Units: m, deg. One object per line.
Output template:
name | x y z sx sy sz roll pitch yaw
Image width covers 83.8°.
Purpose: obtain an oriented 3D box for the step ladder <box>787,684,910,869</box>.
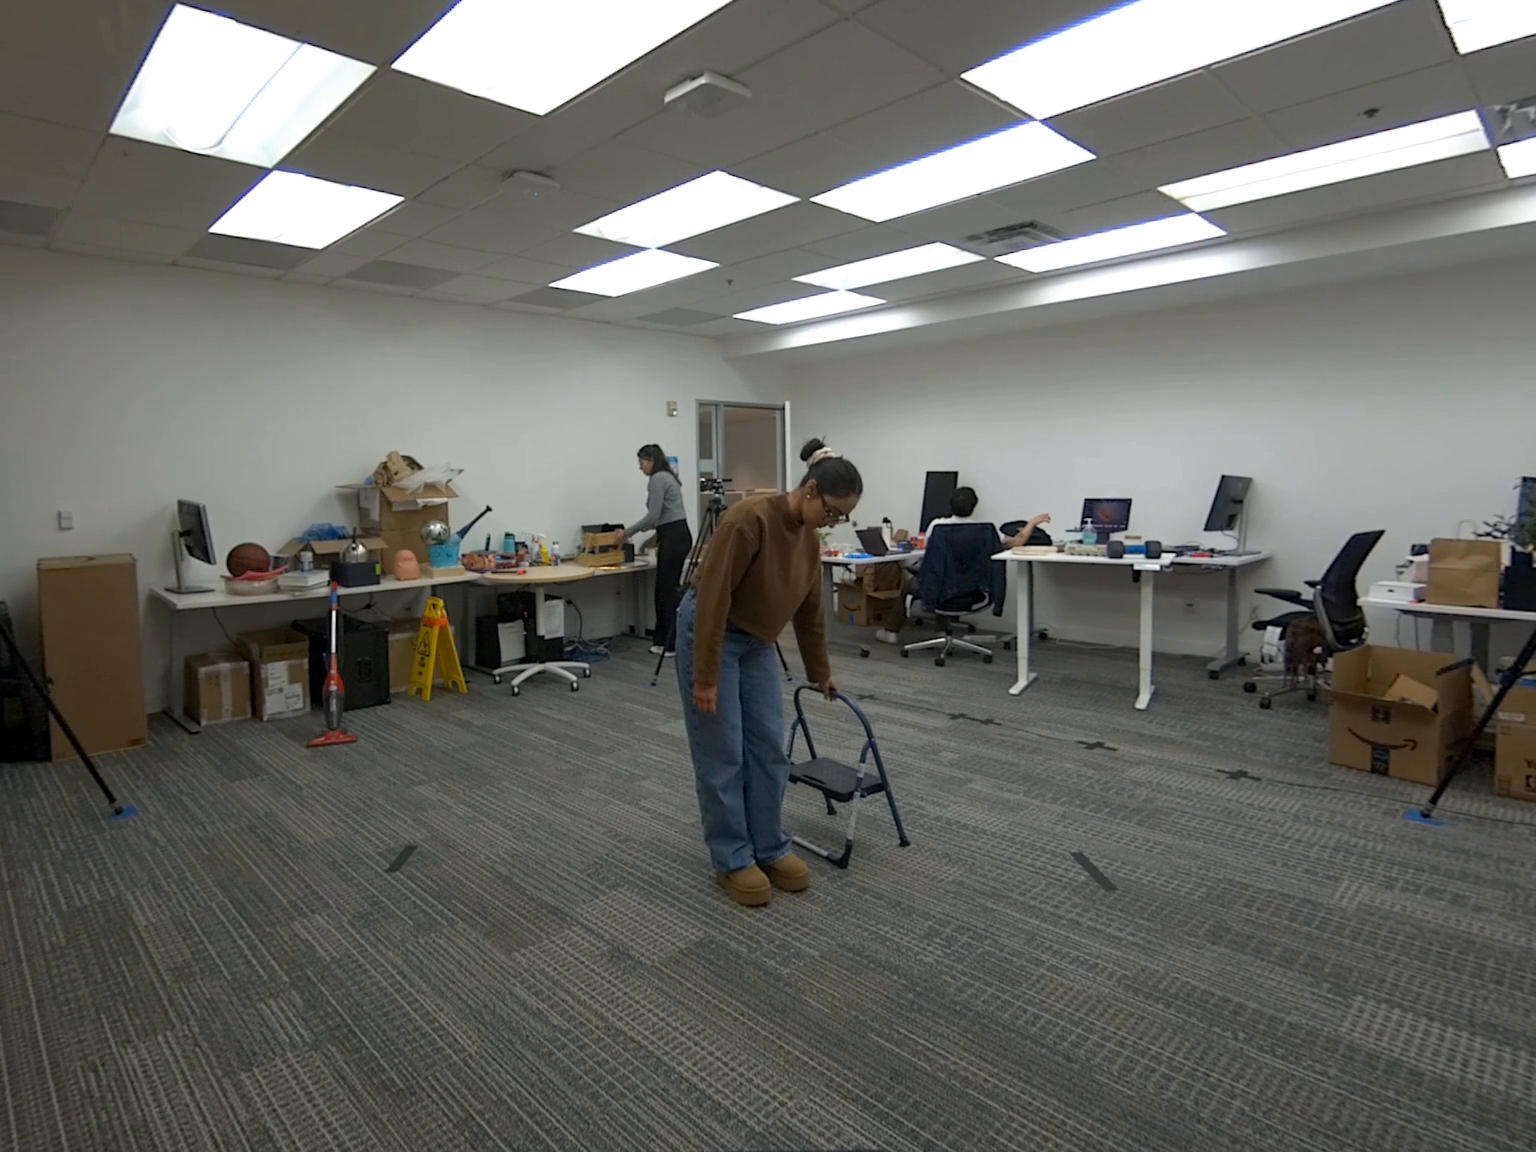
step ladder | 0.267 0.713 3.290 0.340 0.604 0.444 -5 6 -38
